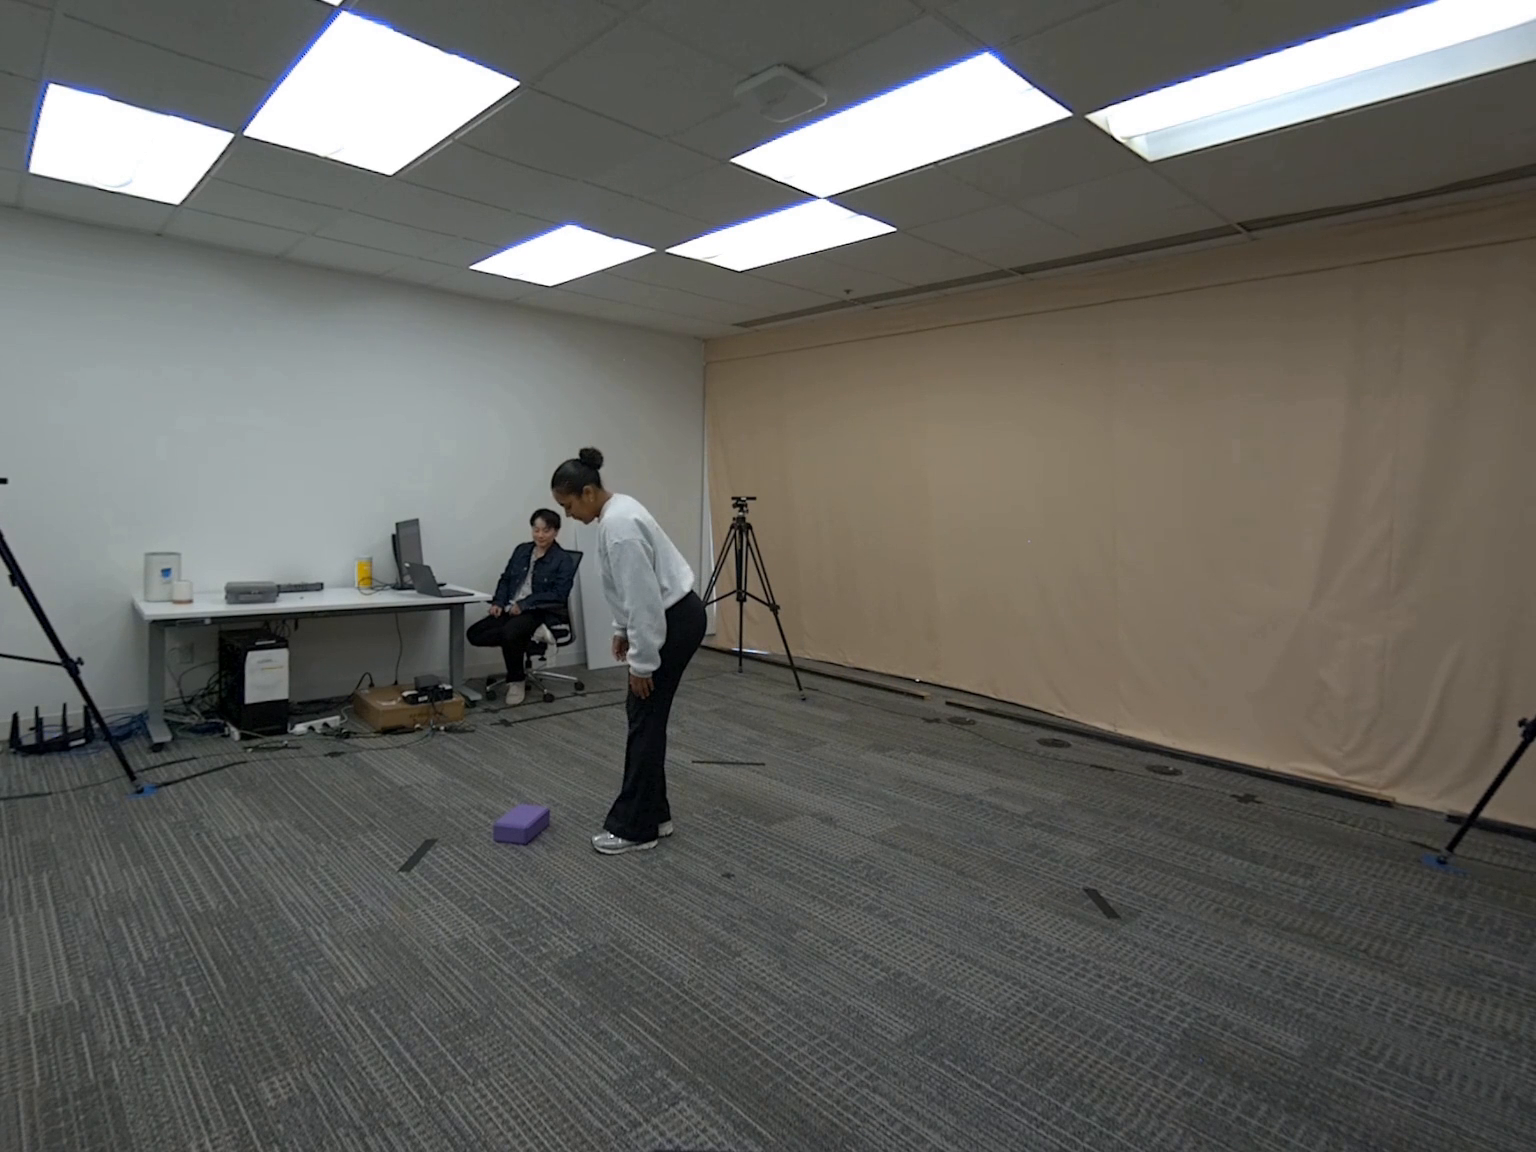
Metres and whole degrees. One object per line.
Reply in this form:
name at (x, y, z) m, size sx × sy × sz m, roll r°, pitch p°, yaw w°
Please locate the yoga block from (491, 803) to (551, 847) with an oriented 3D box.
yoga block at (-1.008, 1.010, 3.451) m, size 0.150 × 0.076 × 0.228 m, roll 3°, pitch 6°, yaw 10°
